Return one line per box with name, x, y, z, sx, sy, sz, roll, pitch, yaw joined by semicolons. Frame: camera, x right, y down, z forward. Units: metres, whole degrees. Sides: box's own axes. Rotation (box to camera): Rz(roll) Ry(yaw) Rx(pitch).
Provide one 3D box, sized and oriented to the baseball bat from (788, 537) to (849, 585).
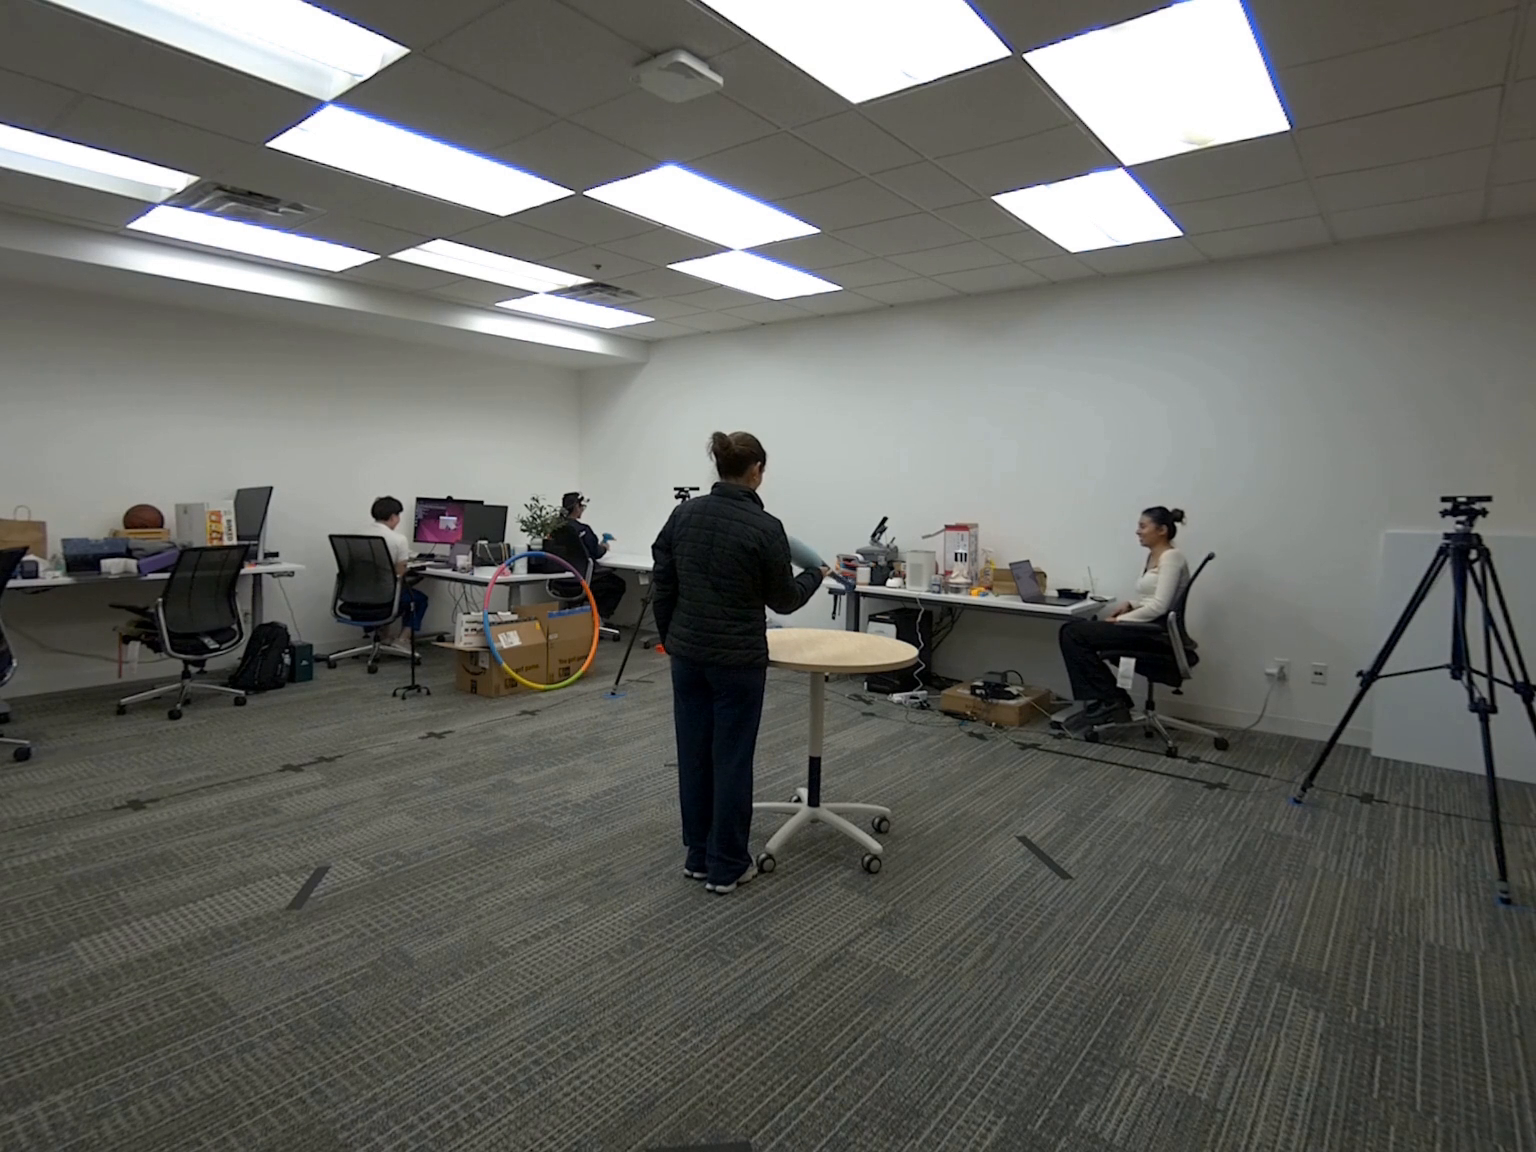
baseball bat;0.208;-0.042;3.312;0.092;0.090;0.521;4;-17;41
